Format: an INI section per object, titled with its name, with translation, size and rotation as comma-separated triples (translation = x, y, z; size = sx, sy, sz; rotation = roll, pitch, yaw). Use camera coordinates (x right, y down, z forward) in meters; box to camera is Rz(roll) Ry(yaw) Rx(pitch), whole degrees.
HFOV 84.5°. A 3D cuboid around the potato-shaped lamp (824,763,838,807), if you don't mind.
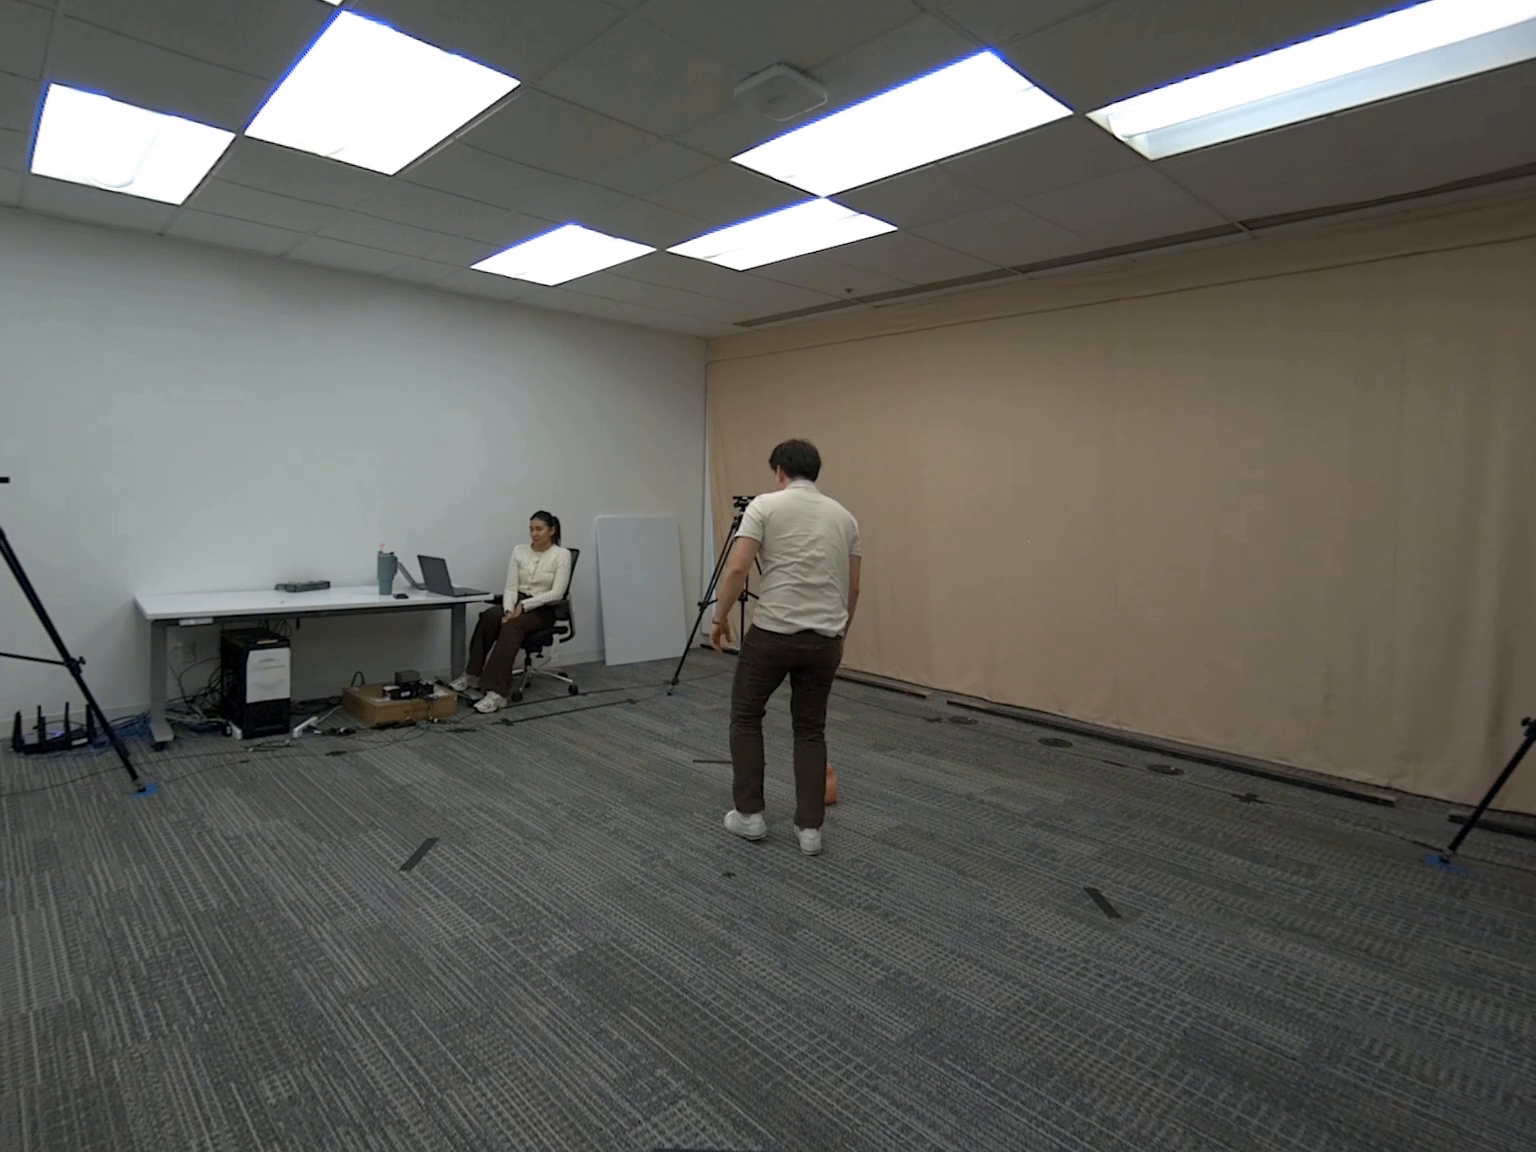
[potato-shaped lamp]
translation = 0.229, 0.945, 3.901
size = 0.161, 0.197, 0.175
rotation = -4, 4, -30
